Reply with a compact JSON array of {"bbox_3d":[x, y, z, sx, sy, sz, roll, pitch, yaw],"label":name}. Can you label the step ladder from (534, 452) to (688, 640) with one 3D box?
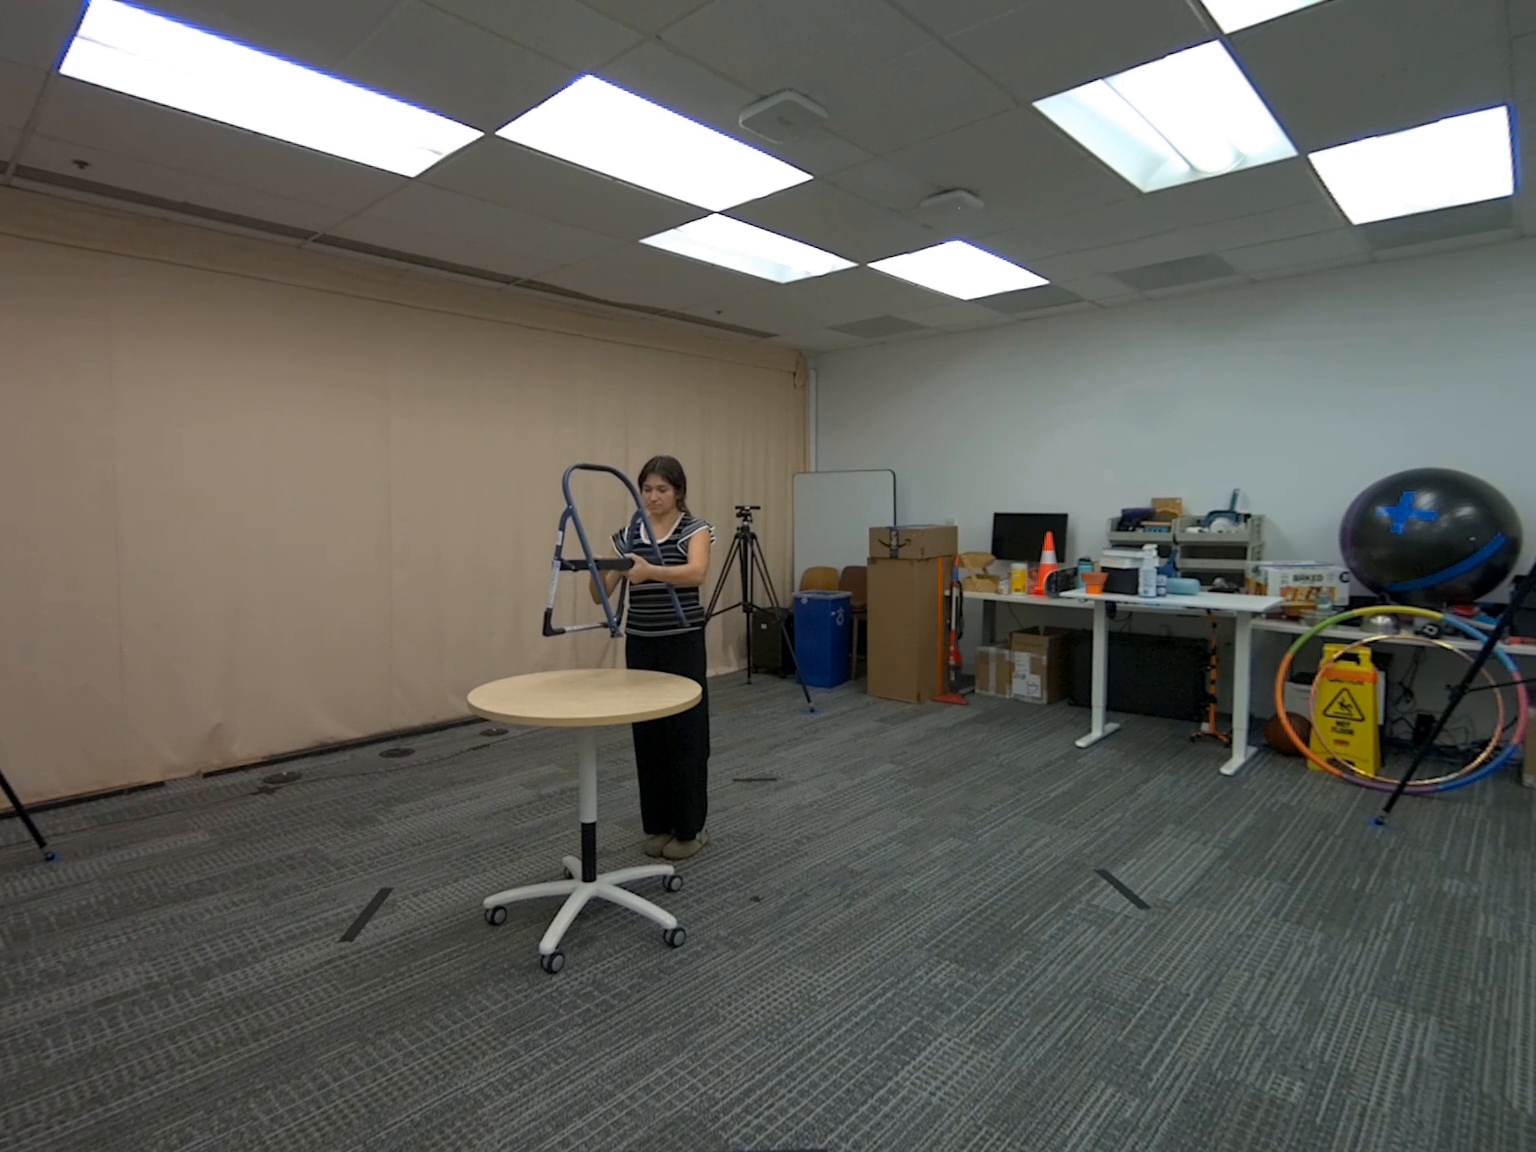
[{"bbox_3d":[-0.547,-0.104,3.011,0.359,0.606,0.419,-1,0,29],"label":"step ladder"}]
